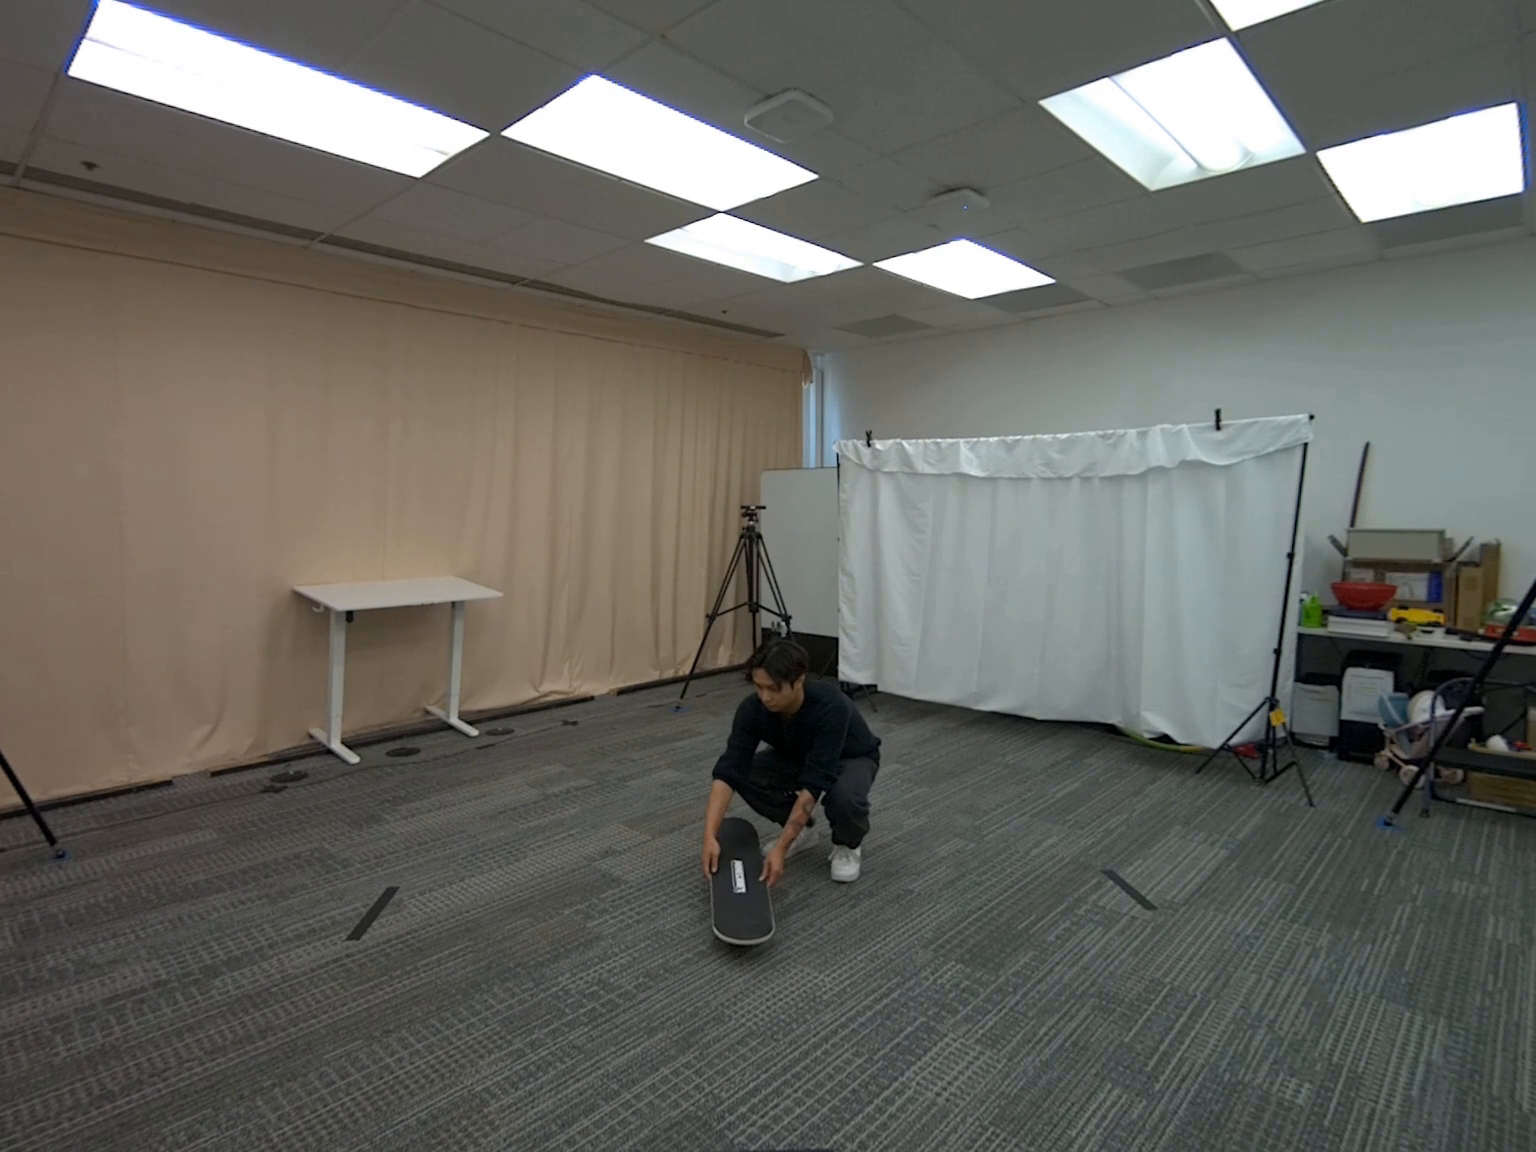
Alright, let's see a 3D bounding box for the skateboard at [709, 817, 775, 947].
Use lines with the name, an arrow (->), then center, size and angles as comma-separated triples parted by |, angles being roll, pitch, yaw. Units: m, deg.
skateboard -> -0.105, 1.069, 2.918 | 0.192, 0.110, 0.793 | -2, 10, -6
